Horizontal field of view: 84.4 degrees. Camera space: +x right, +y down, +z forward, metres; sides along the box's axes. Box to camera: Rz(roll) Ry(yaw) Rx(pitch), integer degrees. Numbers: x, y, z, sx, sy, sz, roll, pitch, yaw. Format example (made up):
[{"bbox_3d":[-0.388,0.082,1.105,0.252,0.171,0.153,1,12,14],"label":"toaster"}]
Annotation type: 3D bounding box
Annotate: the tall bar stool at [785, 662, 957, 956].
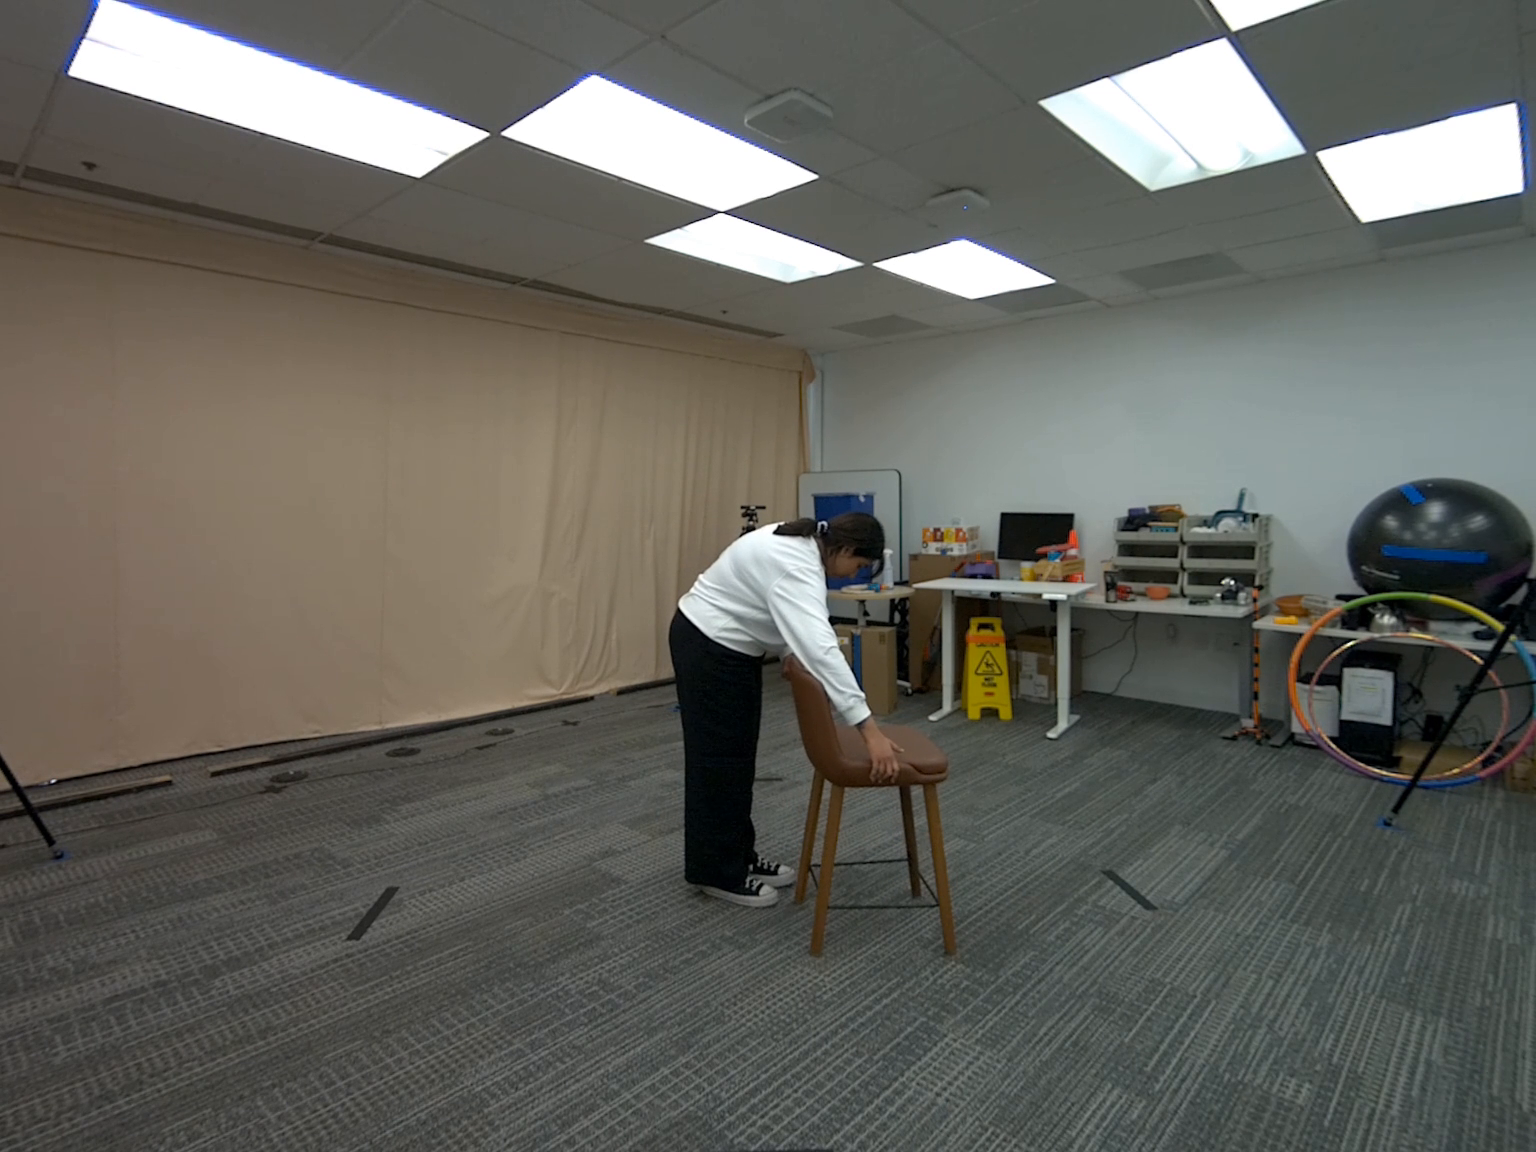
[{"bbox_3d":[0.341,0.727,2.769,0.465,0.887,0.460,-2,4,-6],"label":"tall bar stool"}]
